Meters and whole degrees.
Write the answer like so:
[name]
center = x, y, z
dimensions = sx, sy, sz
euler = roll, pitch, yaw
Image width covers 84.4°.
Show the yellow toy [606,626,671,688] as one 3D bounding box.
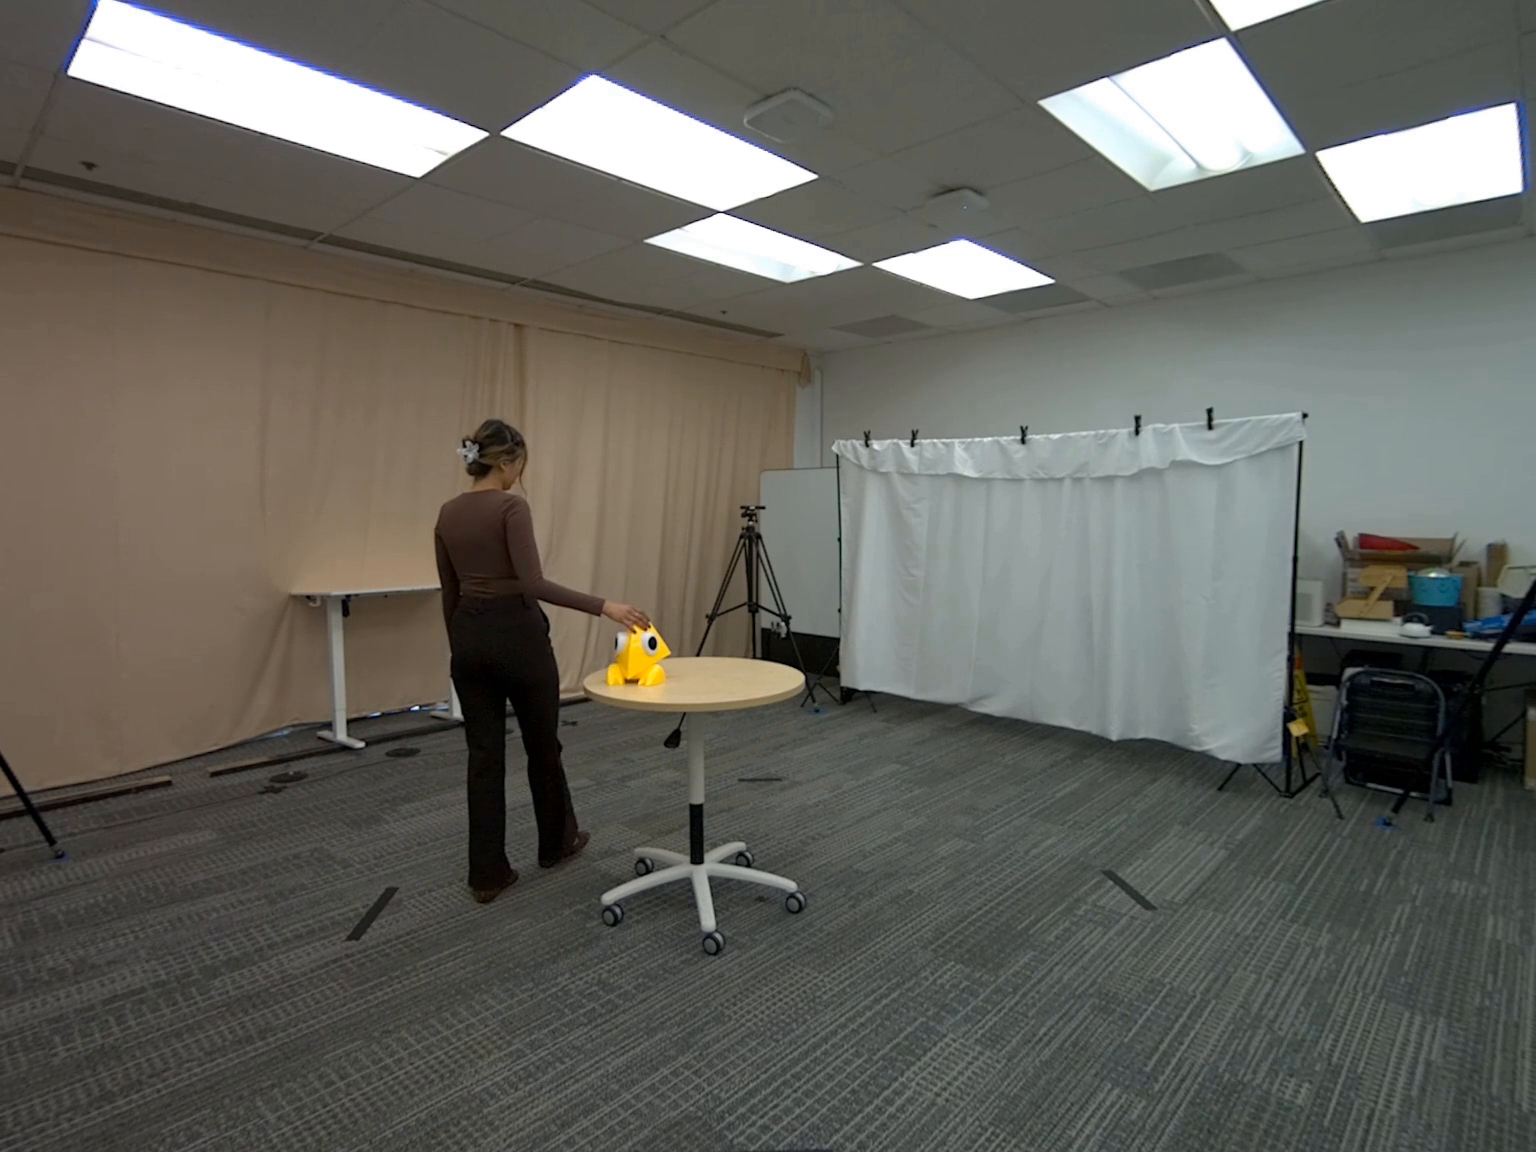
[yellow toy]
center = -0.451, 0.246, 2.887
dimensions = 0.207, 0.230, 0.191
euler = 0, 3, 9
